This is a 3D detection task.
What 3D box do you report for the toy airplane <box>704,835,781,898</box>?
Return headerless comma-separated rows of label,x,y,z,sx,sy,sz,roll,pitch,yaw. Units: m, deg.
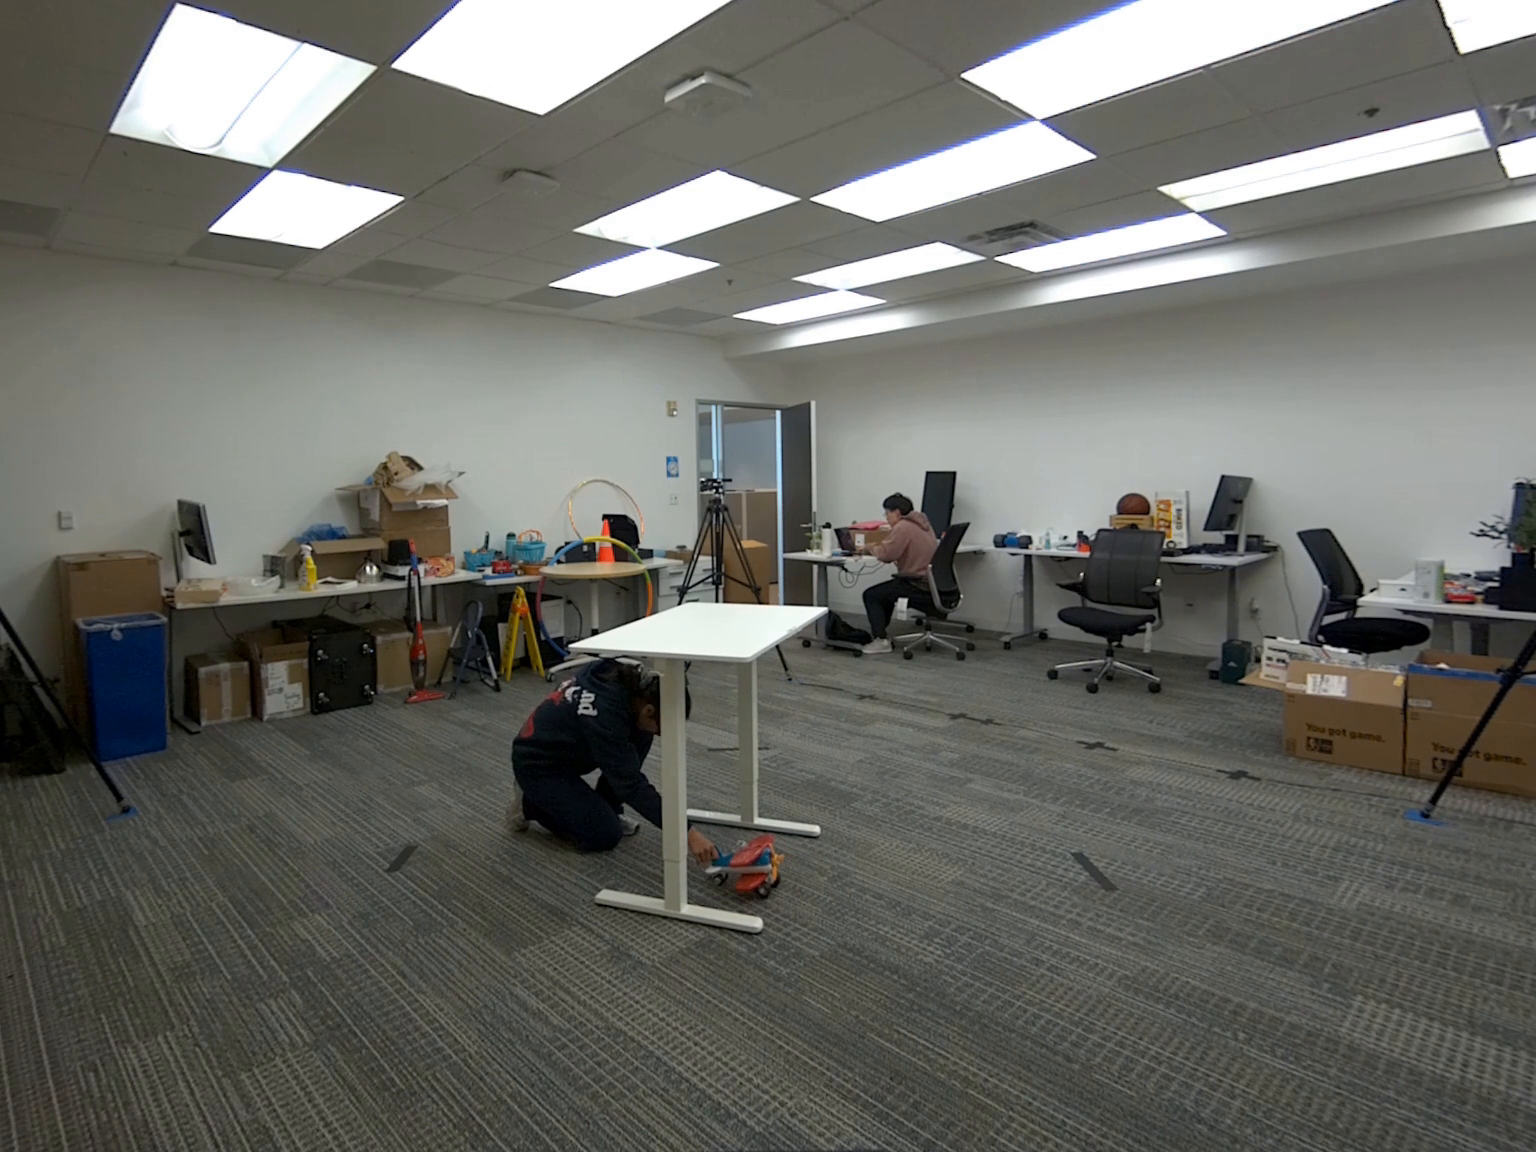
toy airplane,-0.084,0.997,2.891,0.258,0.156,0.253,0,5,-5
